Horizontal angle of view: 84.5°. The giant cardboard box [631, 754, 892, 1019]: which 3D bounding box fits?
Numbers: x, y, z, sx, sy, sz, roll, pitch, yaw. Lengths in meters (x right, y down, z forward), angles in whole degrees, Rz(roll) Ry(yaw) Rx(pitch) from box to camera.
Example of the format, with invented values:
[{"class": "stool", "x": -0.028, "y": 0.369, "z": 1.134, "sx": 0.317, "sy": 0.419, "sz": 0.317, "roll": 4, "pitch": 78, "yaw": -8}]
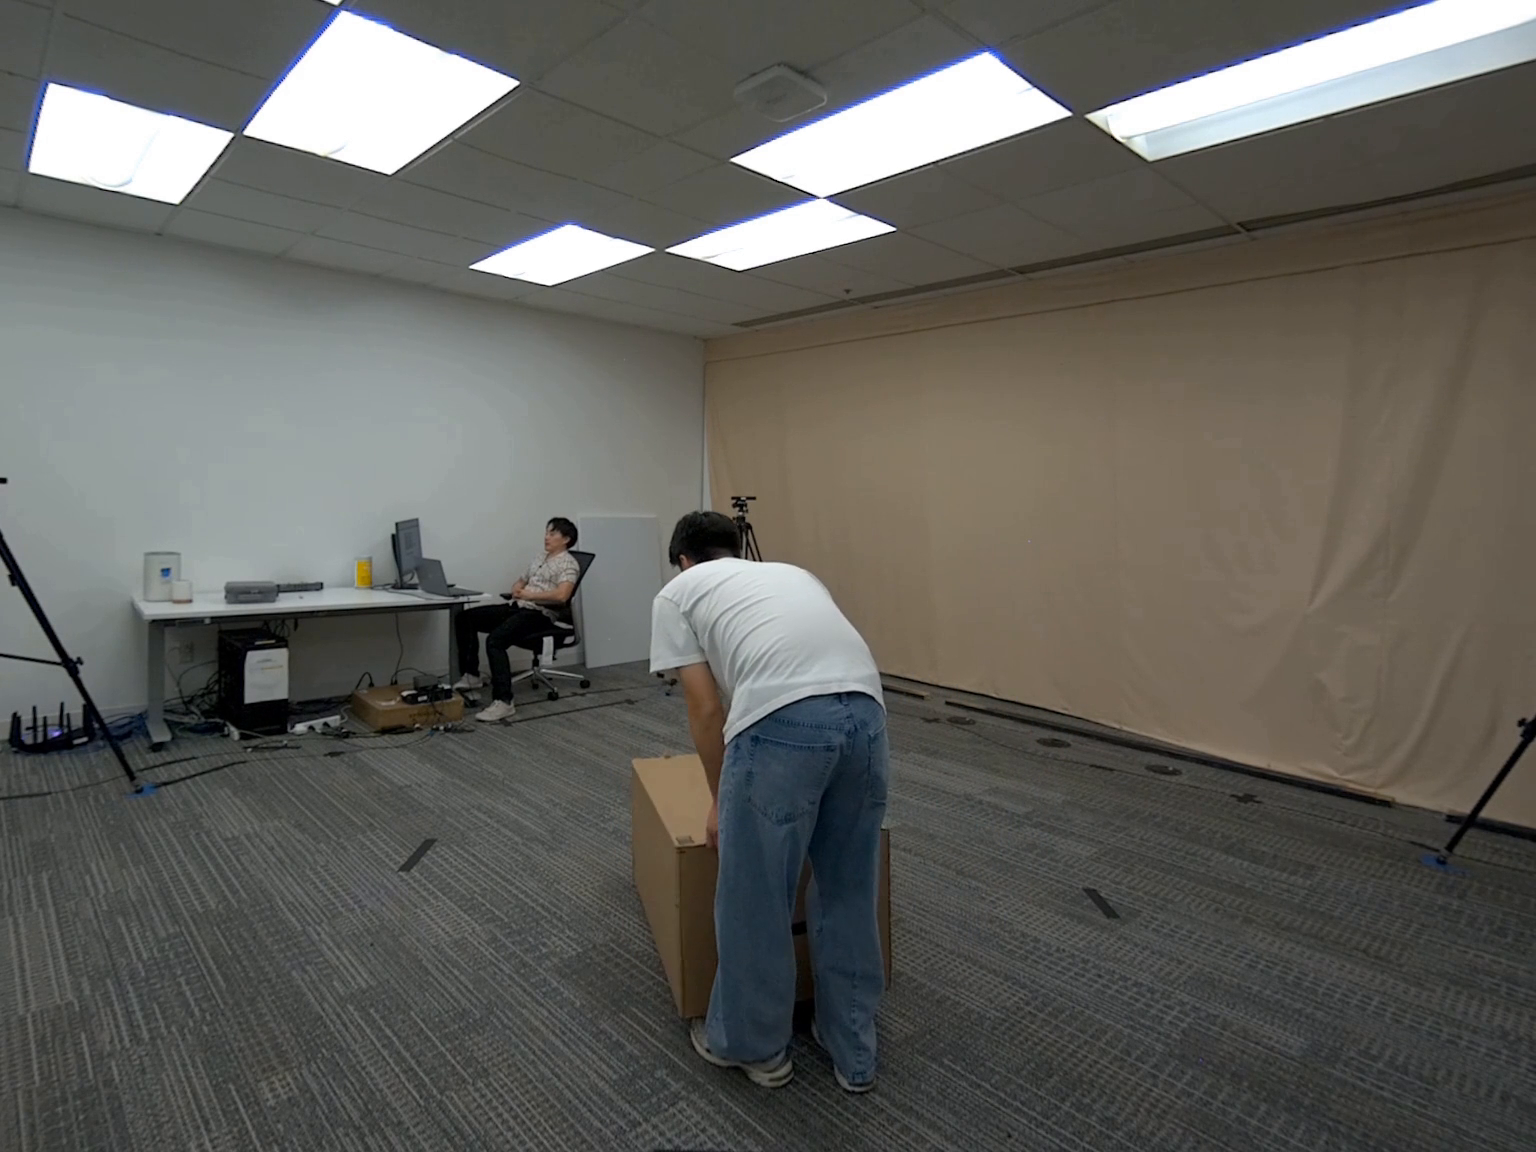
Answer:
[{"class": "giant cardboard box", "x": -0.097, "y": 0.884, "z": 2.679, "sx": 0.571, "sy": 0.426, "sz": 1.037, "roll": 0, "pitch": 0, "yaw": -15}]
